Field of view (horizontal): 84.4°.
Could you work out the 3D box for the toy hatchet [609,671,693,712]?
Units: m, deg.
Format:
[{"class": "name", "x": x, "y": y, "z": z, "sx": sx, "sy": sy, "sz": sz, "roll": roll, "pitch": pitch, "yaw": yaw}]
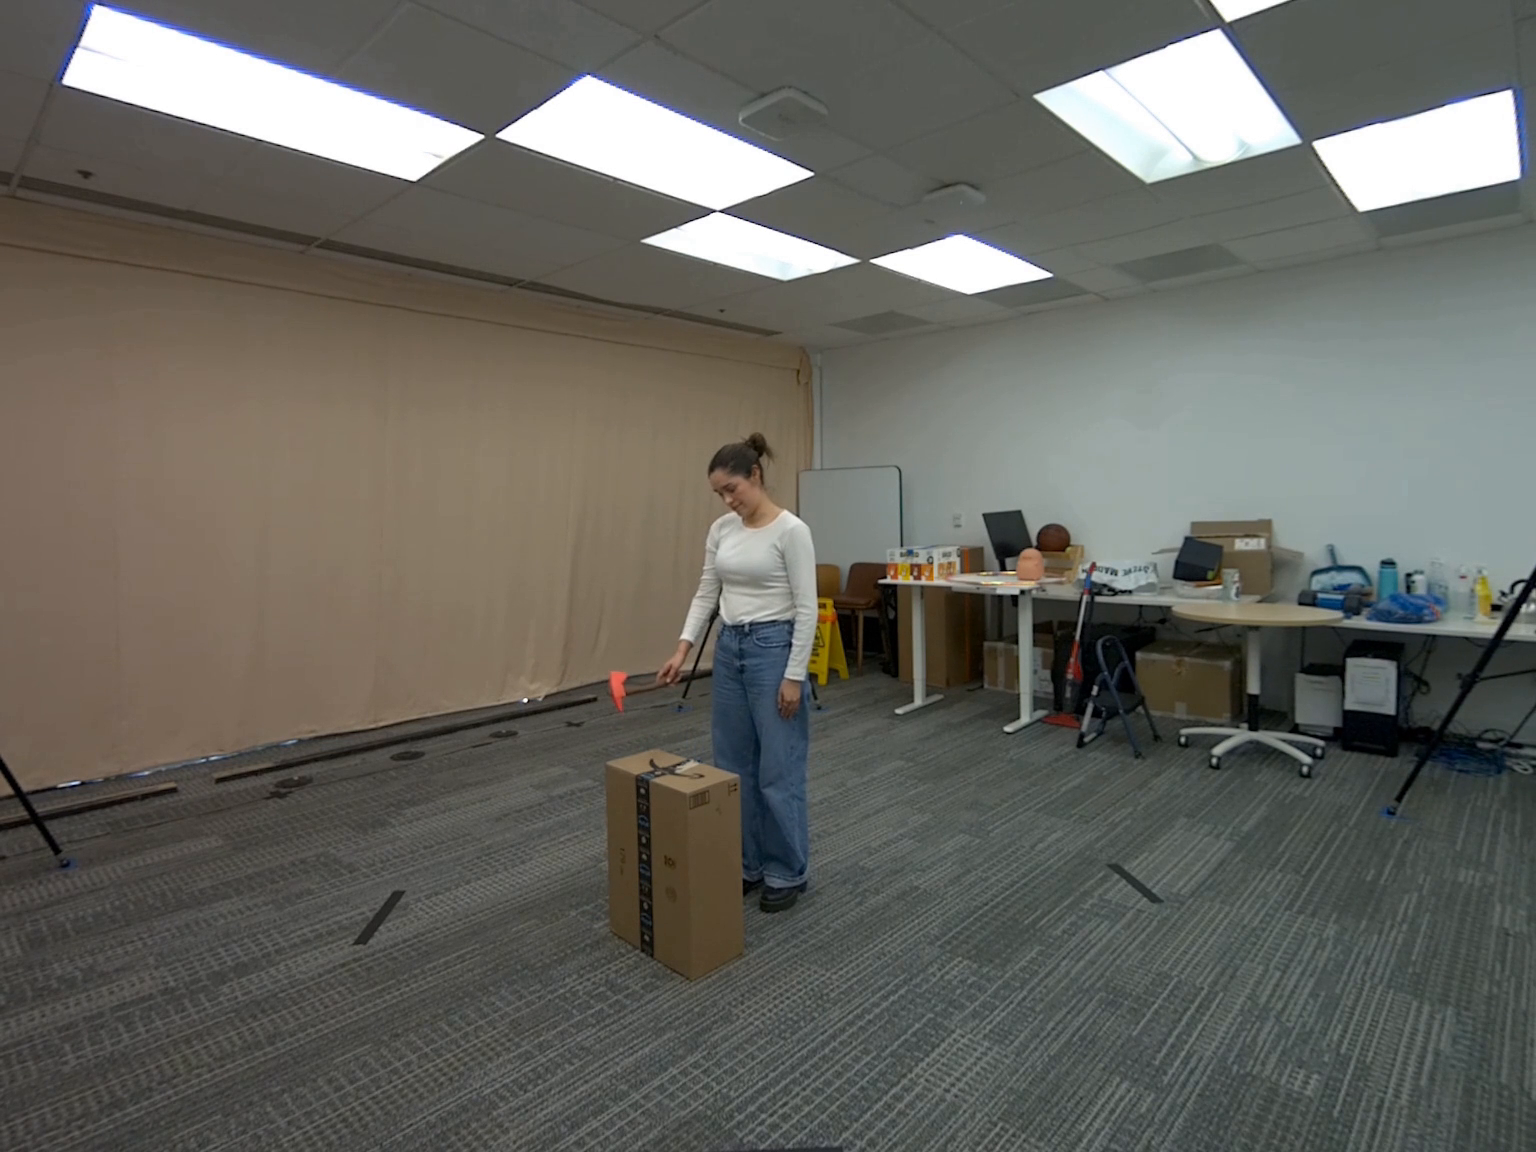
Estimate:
[{"class": "toy hatchet", "x": -0.423, "y": 0.352, "z": 2.880, "sx": 0.264, "sy": 0.132, "sz": 0.030, "roll": -26, "pitch": -11, "yaw": -40}]
